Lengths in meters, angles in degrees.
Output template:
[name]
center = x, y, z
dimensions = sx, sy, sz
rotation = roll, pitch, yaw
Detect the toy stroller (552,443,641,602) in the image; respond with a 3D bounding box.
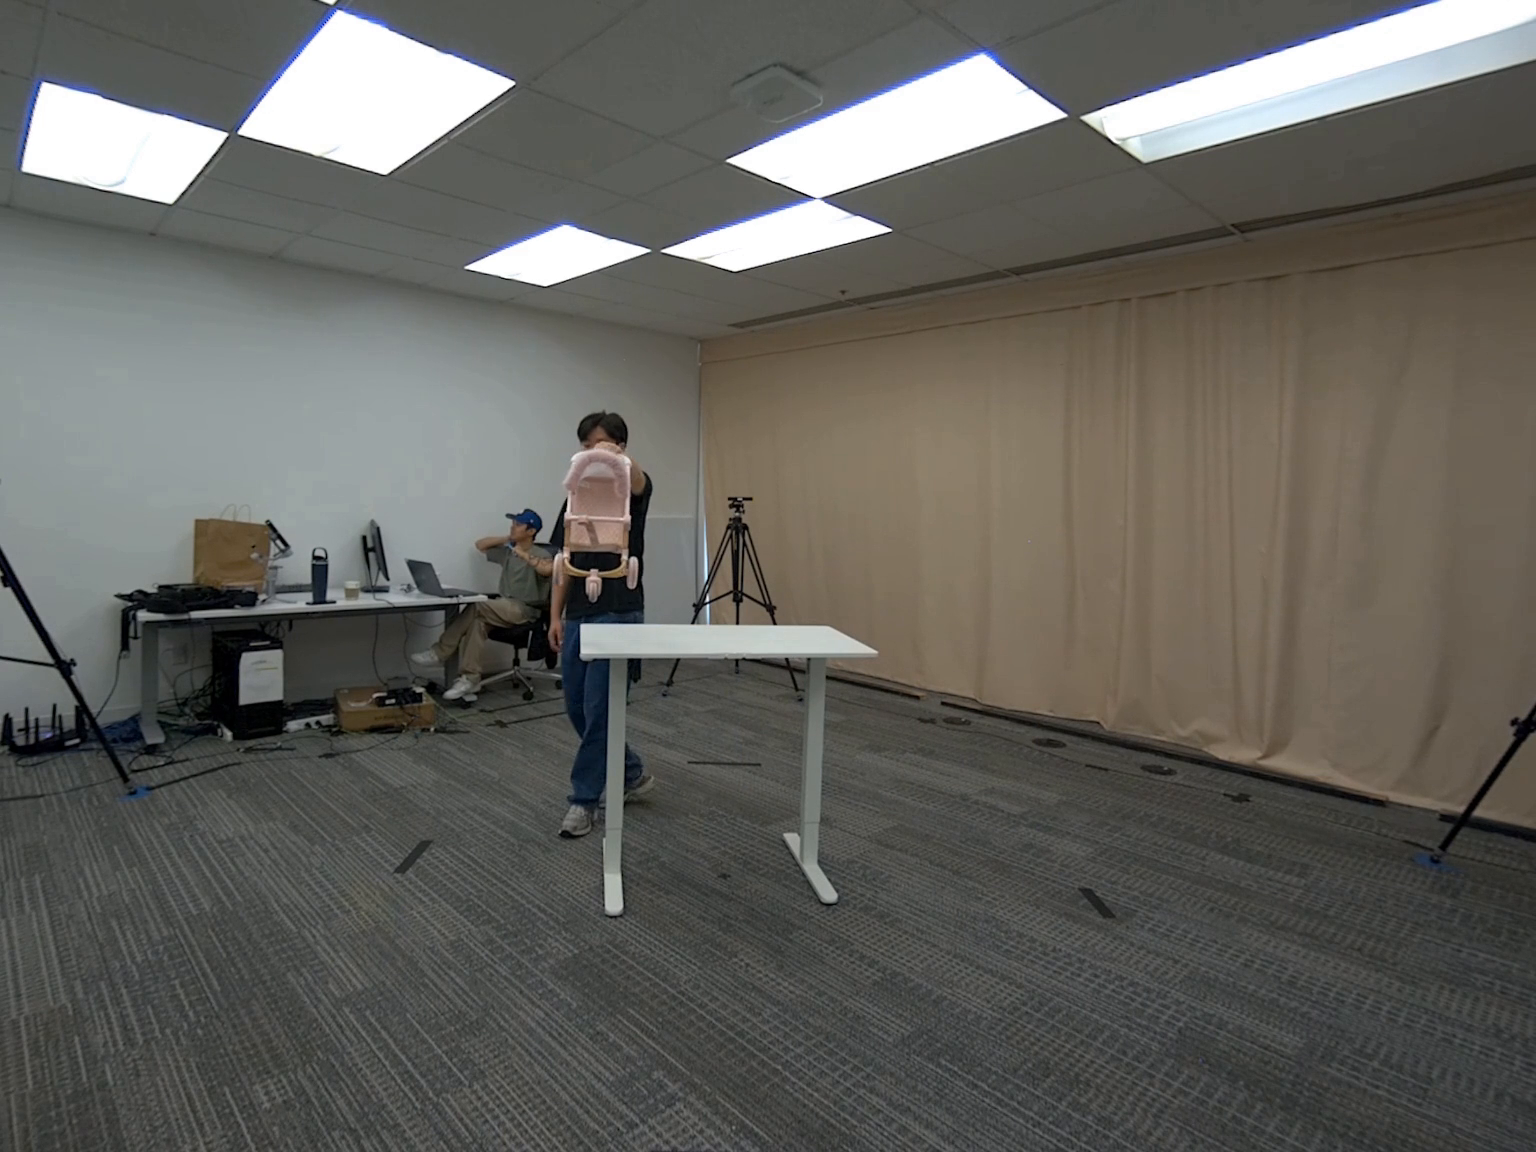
[toy stroller]
center = -0.575, -0.177, 2.793
dimensions = 0.280, 0.537, 0.341
rotation = 3, -5, -5
